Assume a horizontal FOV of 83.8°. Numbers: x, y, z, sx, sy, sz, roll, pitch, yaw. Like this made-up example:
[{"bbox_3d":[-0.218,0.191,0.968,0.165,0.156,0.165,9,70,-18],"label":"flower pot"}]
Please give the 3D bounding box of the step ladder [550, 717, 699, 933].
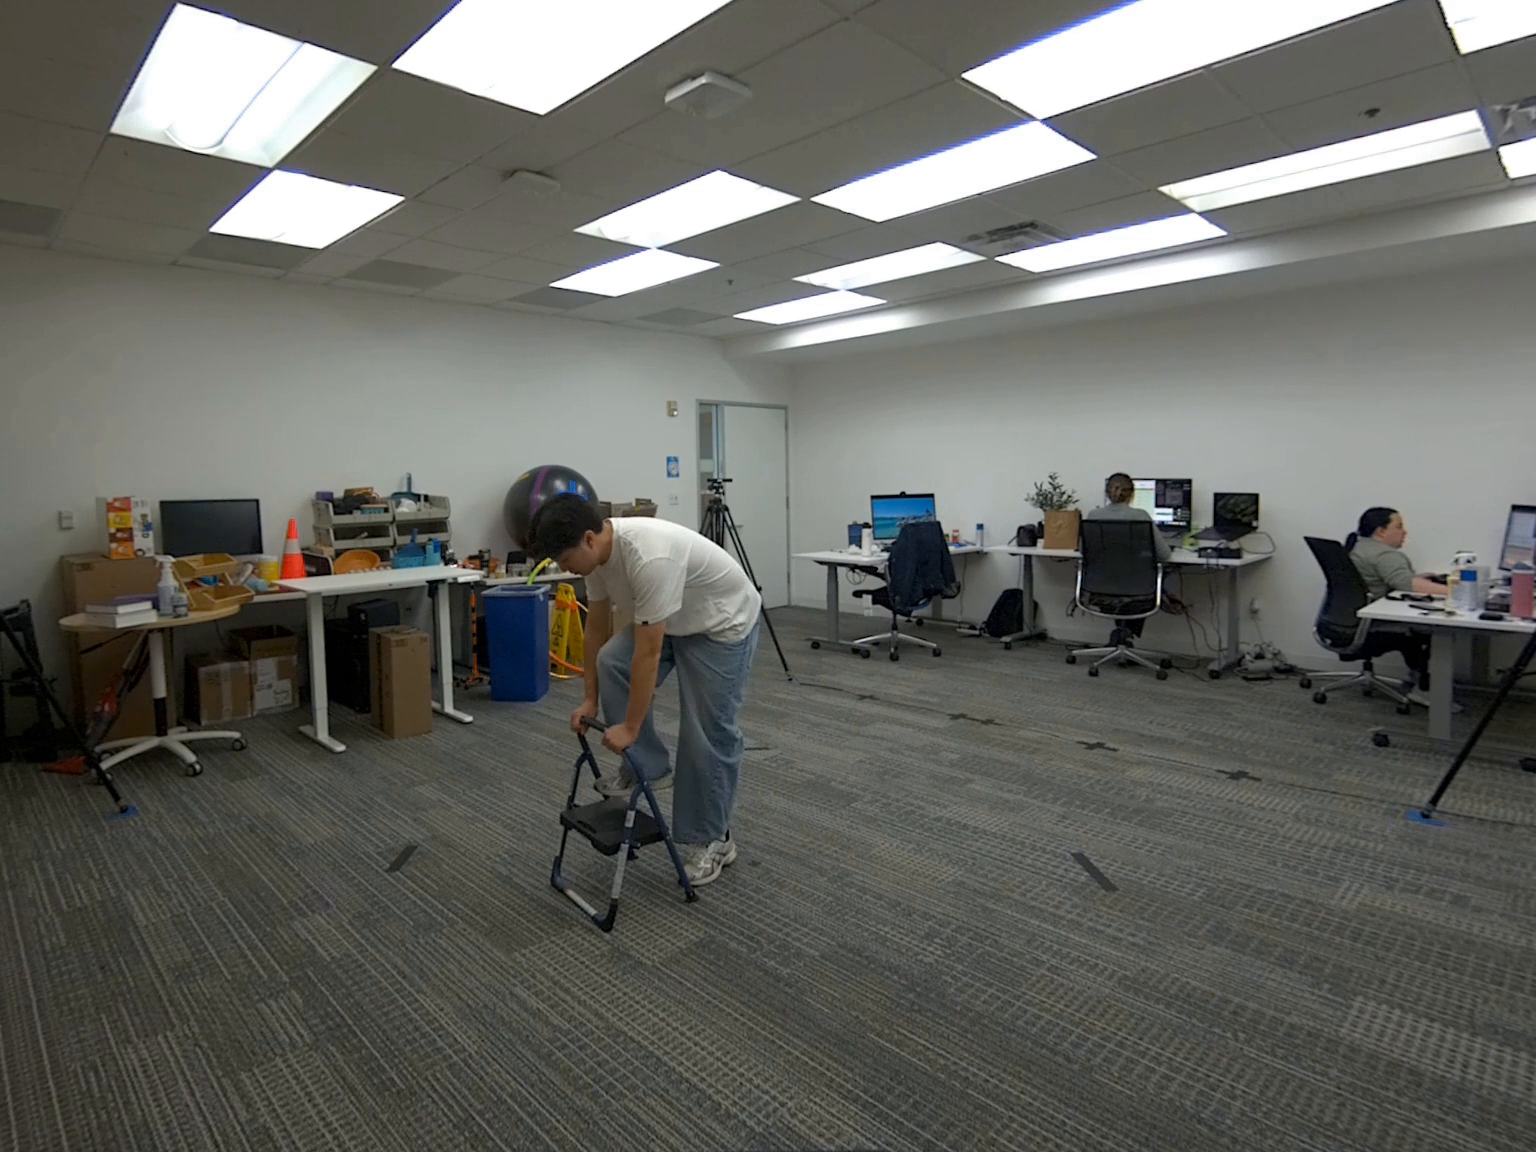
[{"bbox_3d":[-0.504,0.774,2.888,0.340,0.603,0.444,-5,6,-38],"label":"step ladder"}]
